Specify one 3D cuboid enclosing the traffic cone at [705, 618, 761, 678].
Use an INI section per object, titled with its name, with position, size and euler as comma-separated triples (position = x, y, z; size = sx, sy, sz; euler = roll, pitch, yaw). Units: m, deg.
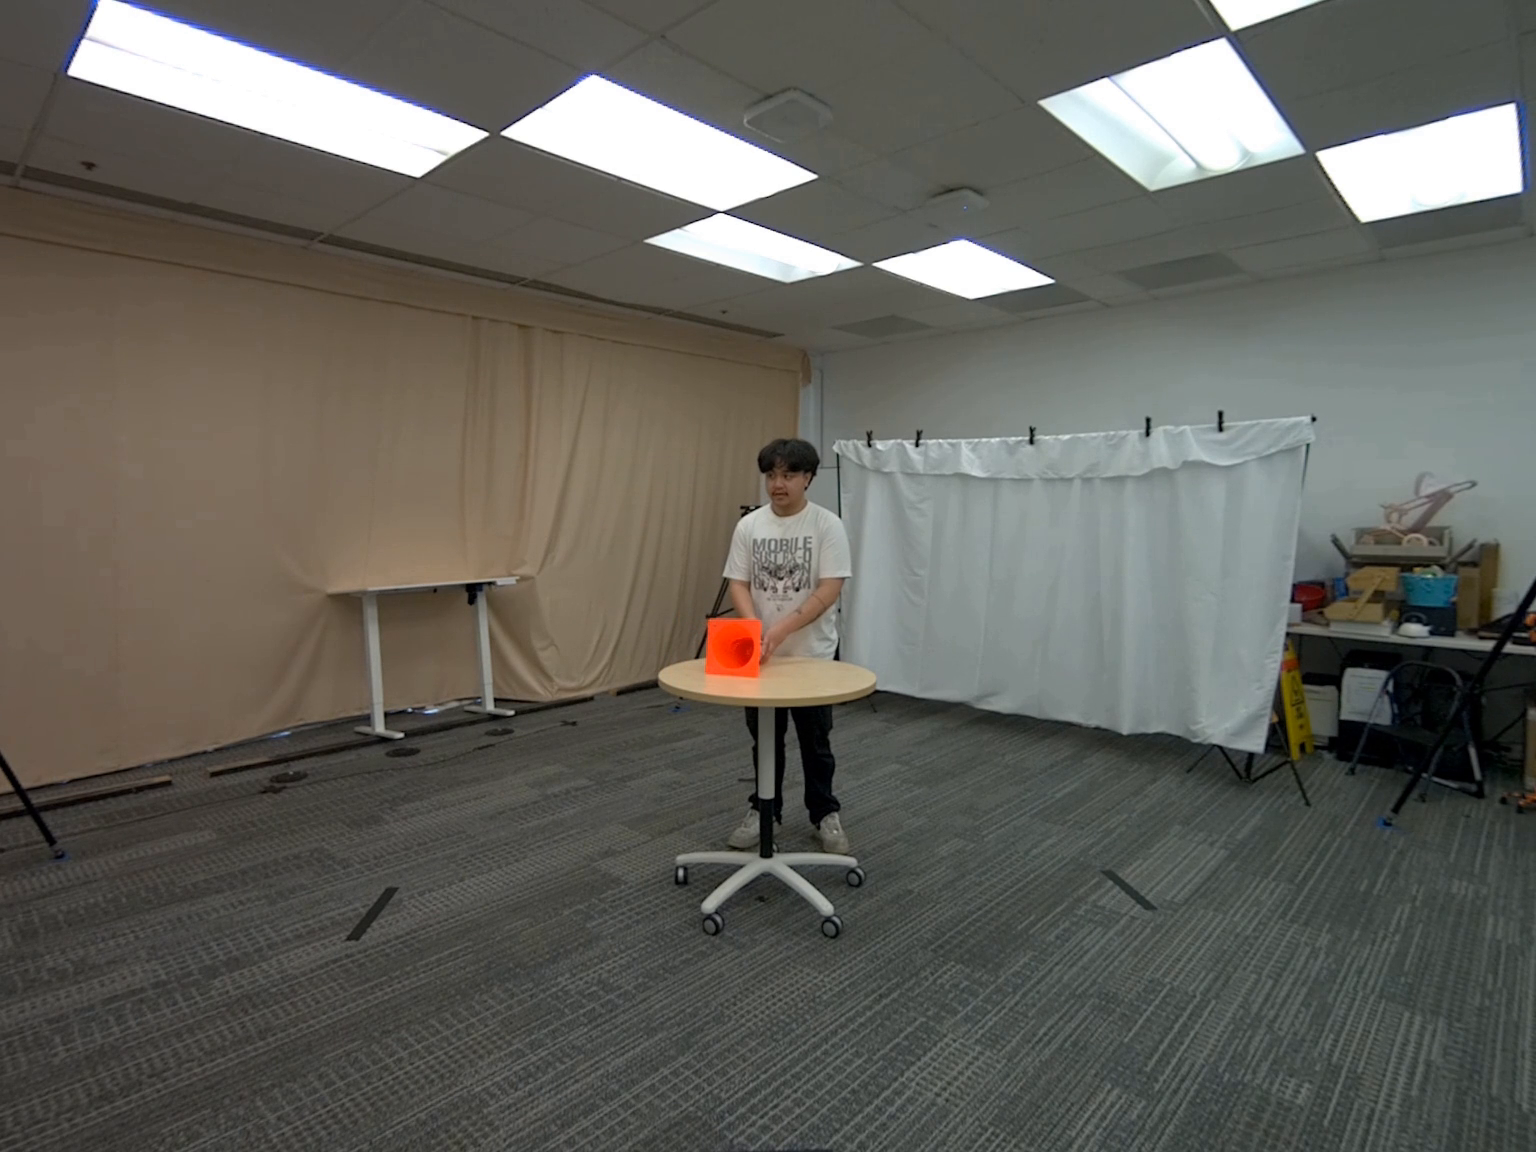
[traffic cone]
position = -0.067, 0.276, 3.140
size = 0.209, 0.204, 0.375
euler = -3, -7, 16
